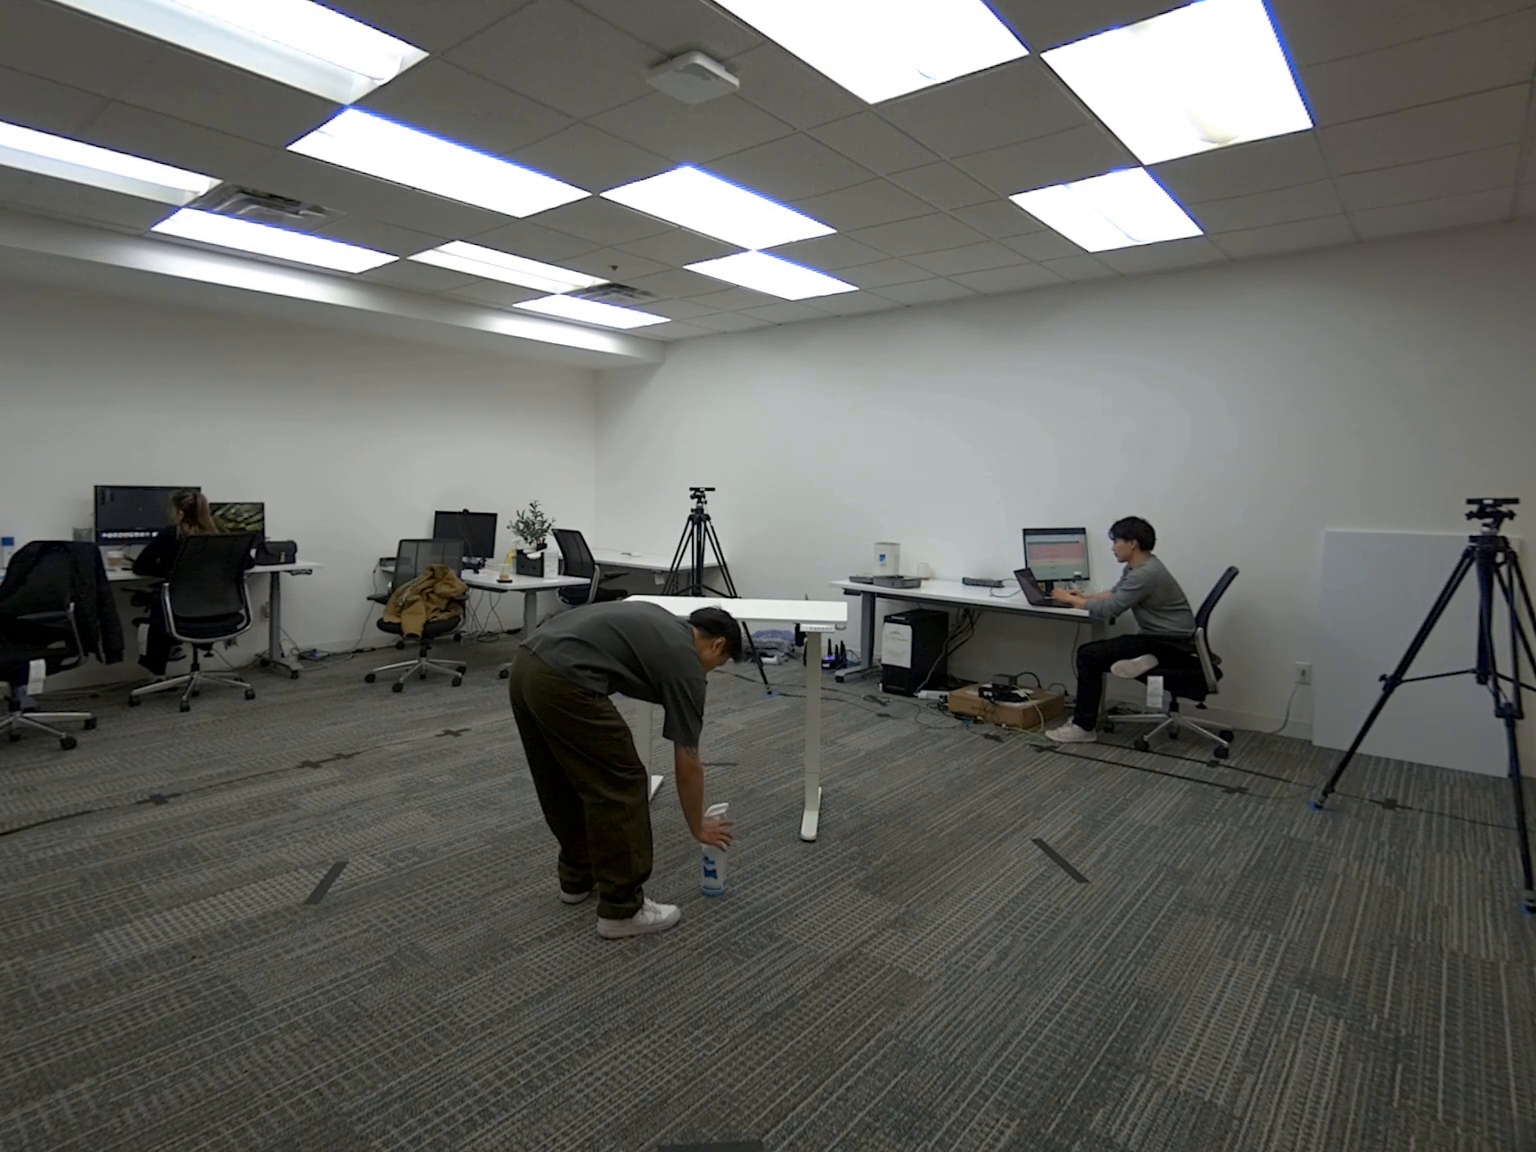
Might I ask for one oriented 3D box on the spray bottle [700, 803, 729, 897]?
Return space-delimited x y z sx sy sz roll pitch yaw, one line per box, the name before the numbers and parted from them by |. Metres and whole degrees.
spray bottle | -0.193 0.943 2.927 0.089 0.297 0.088 3 1 -6
